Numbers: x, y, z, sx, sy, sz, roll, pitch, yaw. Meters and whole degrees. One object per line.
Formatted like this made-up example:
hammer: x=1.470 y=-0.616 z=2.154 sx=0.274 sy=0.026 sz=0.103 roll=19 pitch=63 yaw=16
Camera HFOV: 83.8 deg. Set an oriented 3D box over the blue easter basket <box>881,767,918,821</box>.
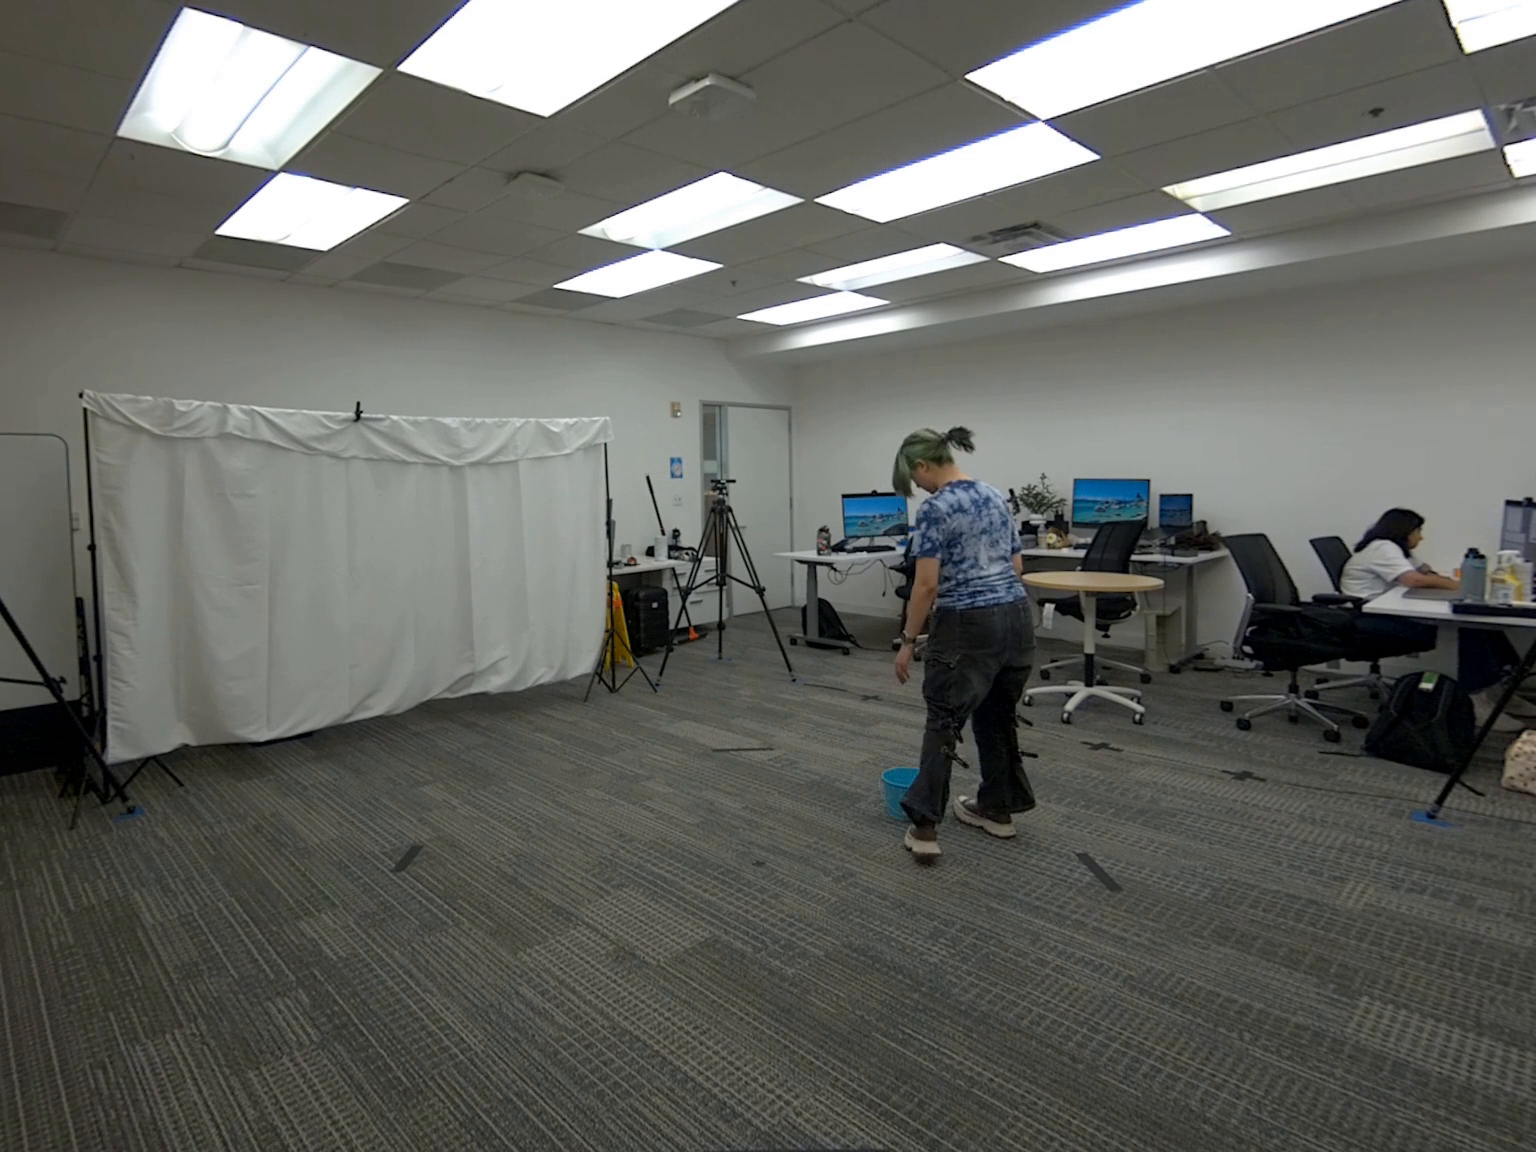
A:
blue easter basket: x=0.588 y=0.909 z=3.554 sx=0.243 sy=0.155 sz=0.245 roll=-1 pitch=5 yaw=-2
